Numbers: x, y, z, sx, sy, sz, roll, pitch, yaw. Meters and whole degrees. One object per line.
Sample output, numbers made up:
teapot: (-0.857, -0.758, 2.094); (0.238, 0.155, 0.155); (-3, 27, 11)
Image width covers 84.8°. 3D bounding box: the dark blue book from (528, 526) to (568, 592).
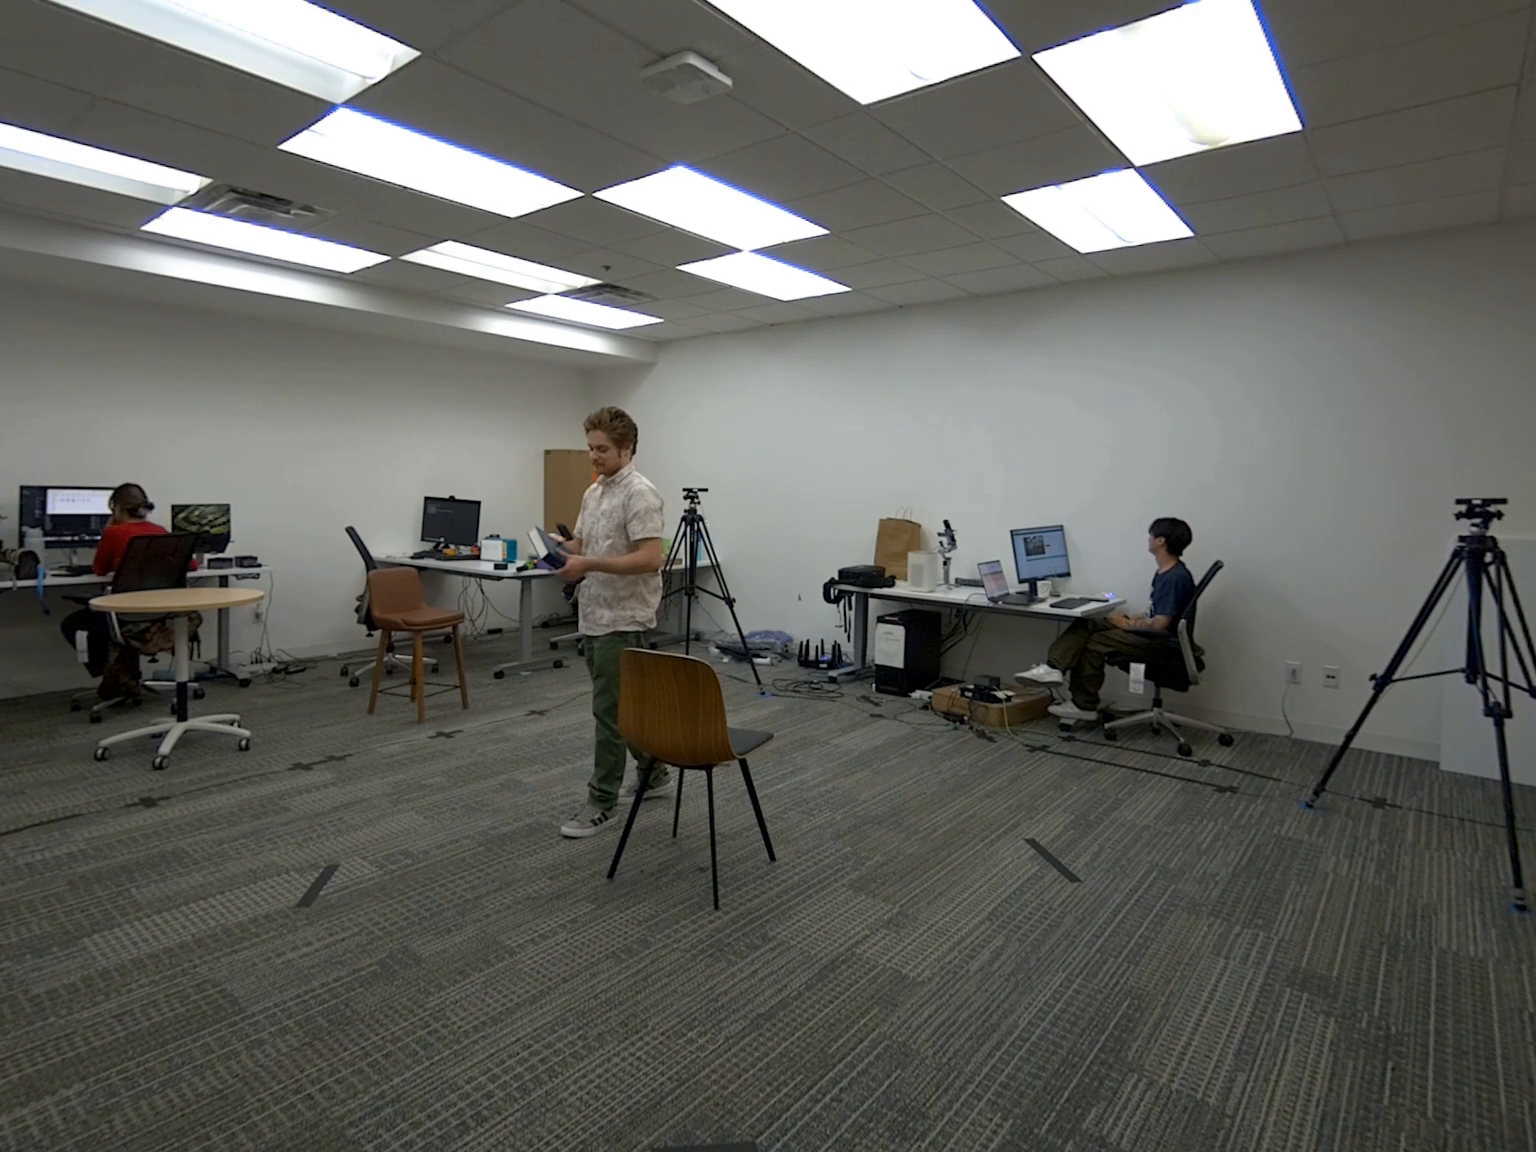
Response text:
dark blue book: (-0.847, -0.087, 3.345); (0.170, 0.045, 0.235); (54, 5, 35)
